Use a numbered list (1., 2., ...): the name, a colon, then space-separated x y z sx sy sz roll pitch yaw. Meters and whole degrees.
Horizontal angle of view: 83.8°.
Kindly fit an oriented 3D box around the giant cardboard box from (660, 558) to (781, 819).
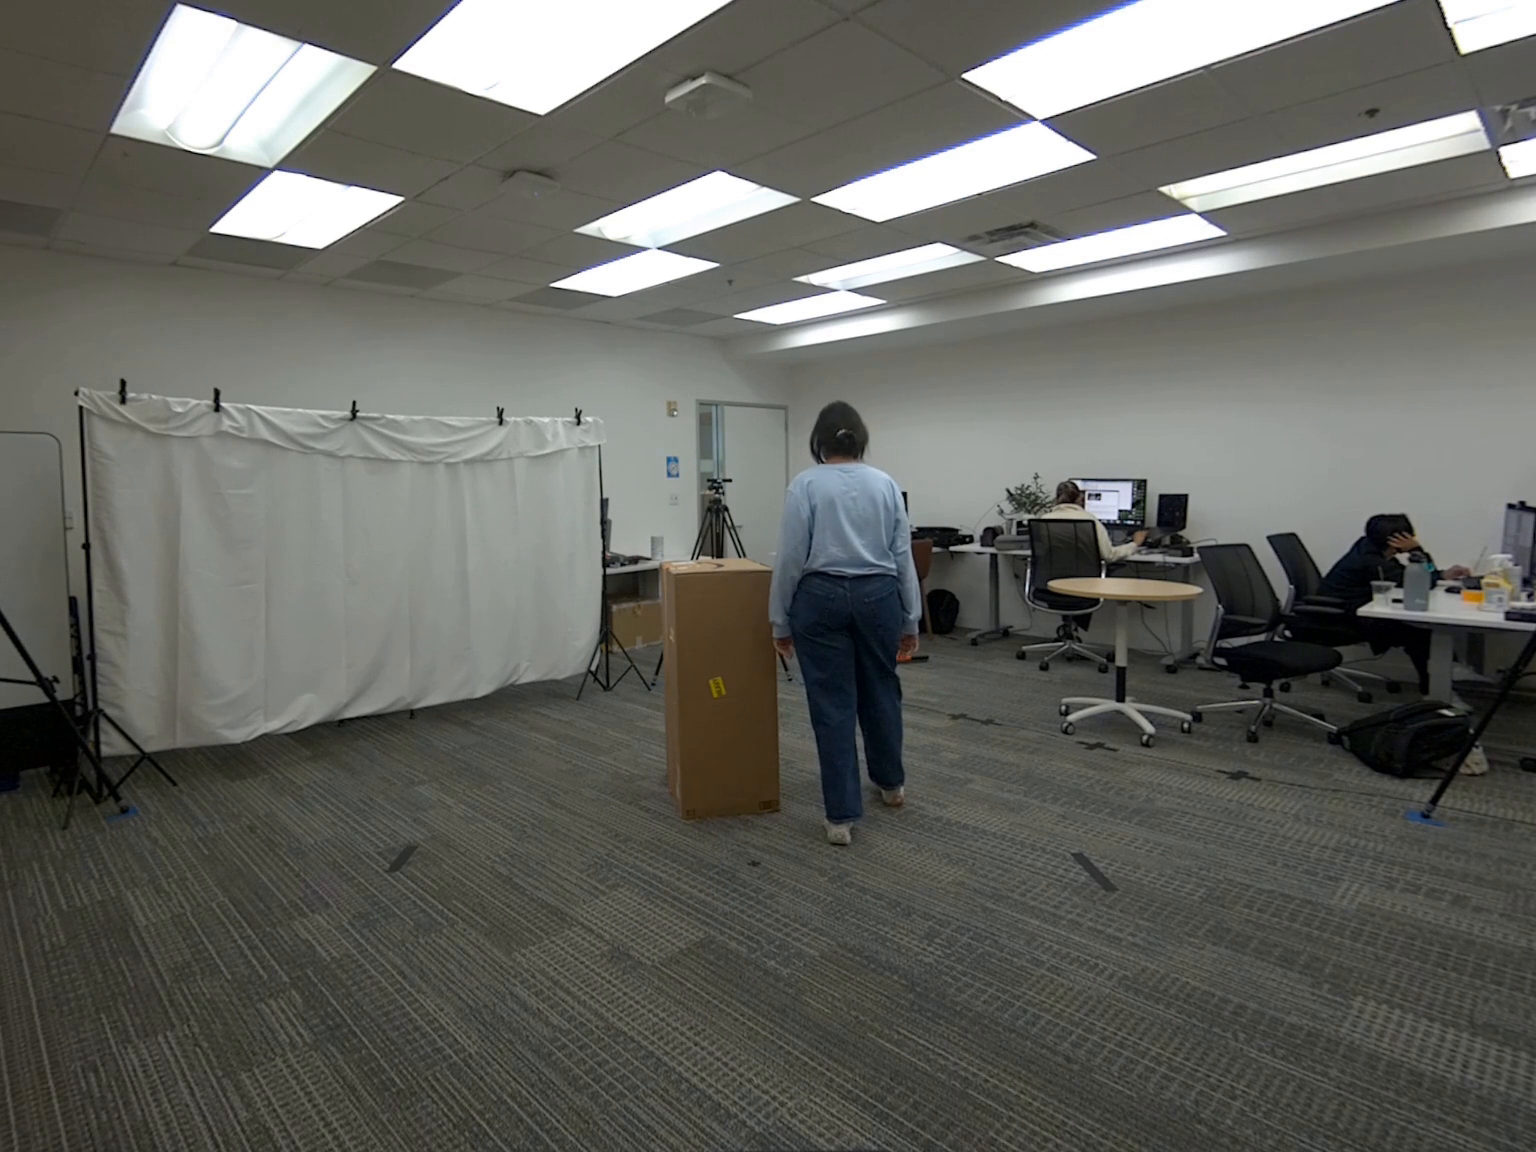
1. giant cardboard box: -0.234 0.461 3.812 0.421 1.023 0.586 -2 4 -13
